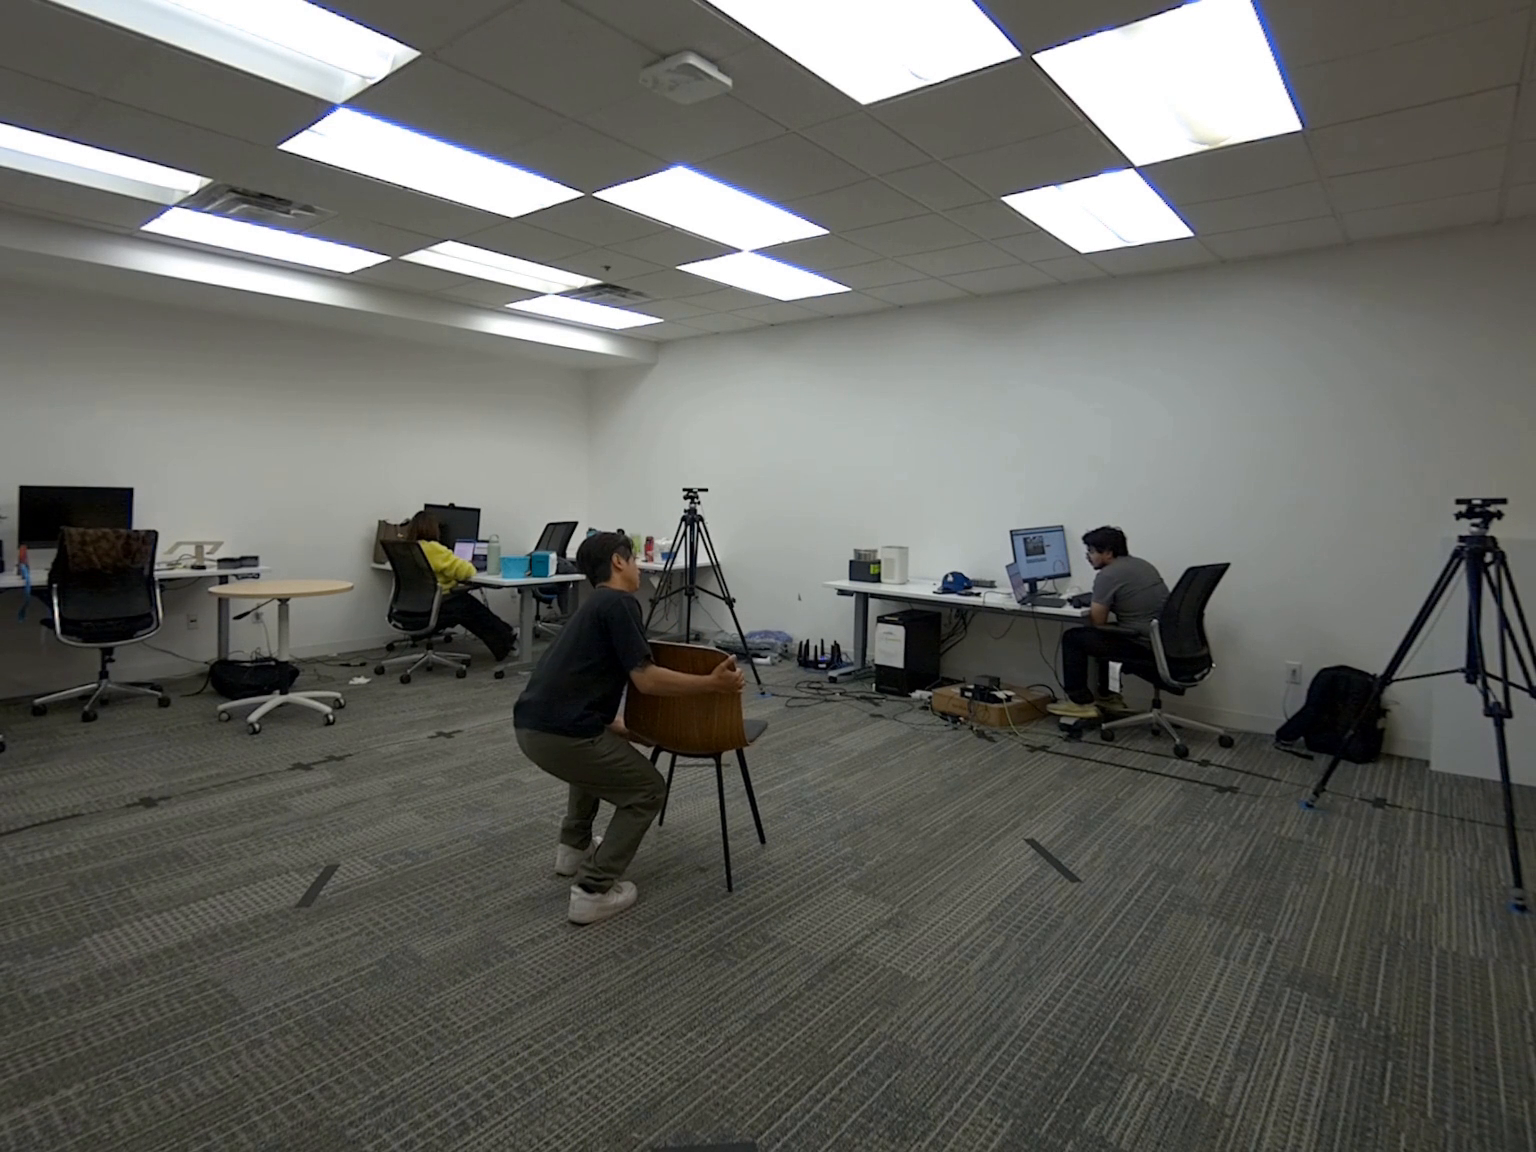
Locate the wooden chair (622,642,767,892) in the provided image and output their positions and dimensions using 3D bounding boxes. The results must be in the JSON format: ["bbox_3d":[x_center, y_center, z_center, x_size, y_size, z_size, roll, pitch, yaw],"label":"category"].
[{"bbox_3d":[-0.269,0.621,3.165,0.487,0.871,0.517,3,8,15],"label":"wooden chair"}]
